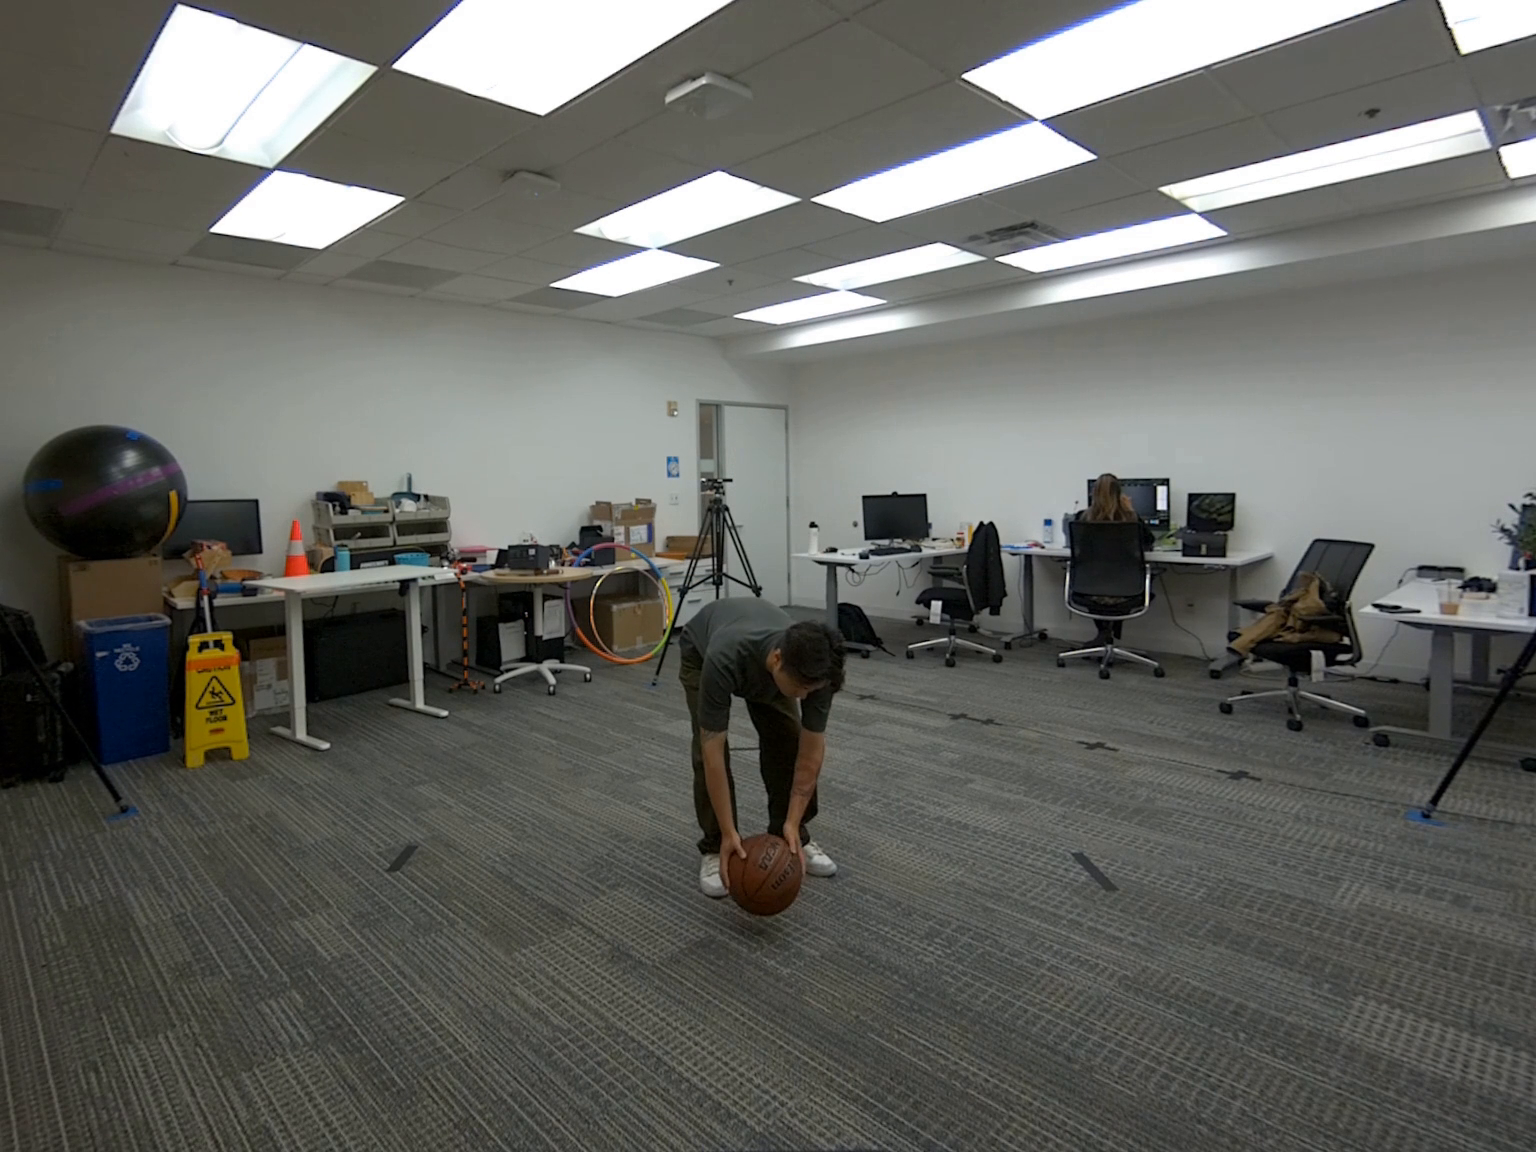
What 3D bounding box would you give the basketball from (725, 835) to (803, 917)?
[{"bbox_3d":[-0.010,0.922,2.648,0.236,0.235,0.237,-1,5,-2],"label":"basketball"}]
